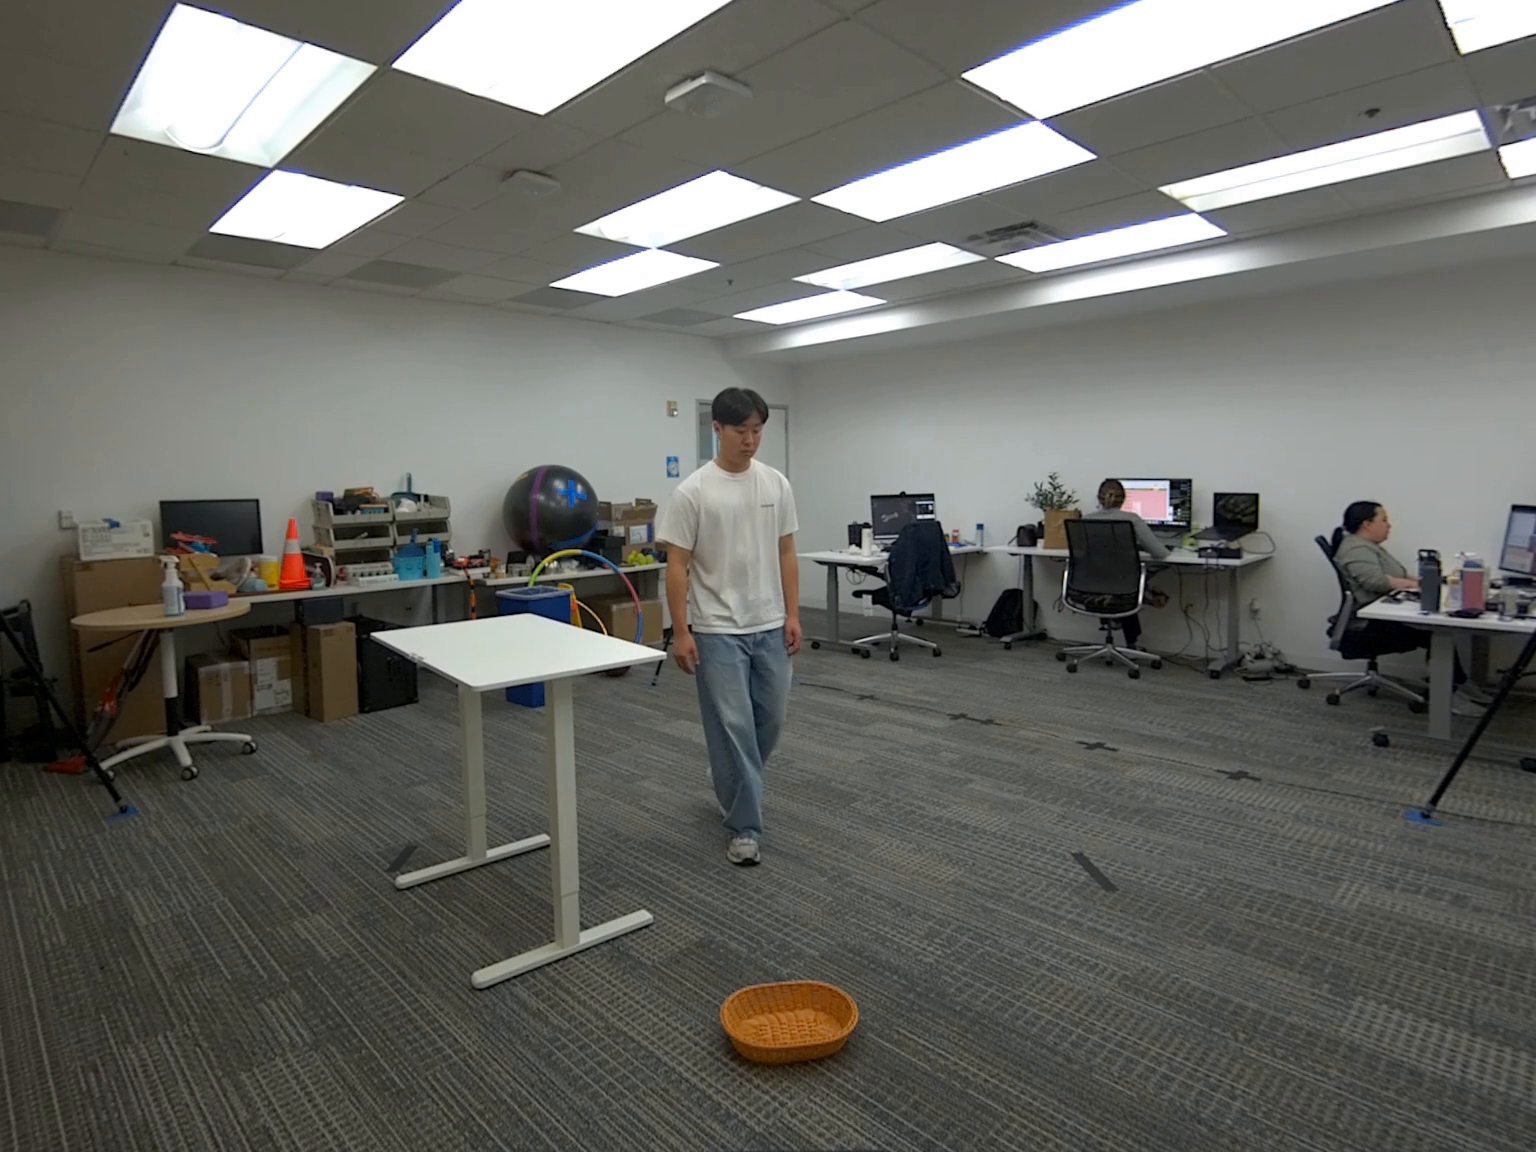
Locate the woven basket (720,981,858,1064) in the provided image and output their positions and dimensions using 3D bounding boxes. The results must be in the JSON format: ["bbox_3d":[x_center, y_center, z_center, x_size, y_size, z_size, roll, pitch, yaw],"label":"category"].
[{"bbox_3d":[0.055,1.125,2.135,0.349,0.073,0.255,-3,7,-6],"label":"woven basket"}]
